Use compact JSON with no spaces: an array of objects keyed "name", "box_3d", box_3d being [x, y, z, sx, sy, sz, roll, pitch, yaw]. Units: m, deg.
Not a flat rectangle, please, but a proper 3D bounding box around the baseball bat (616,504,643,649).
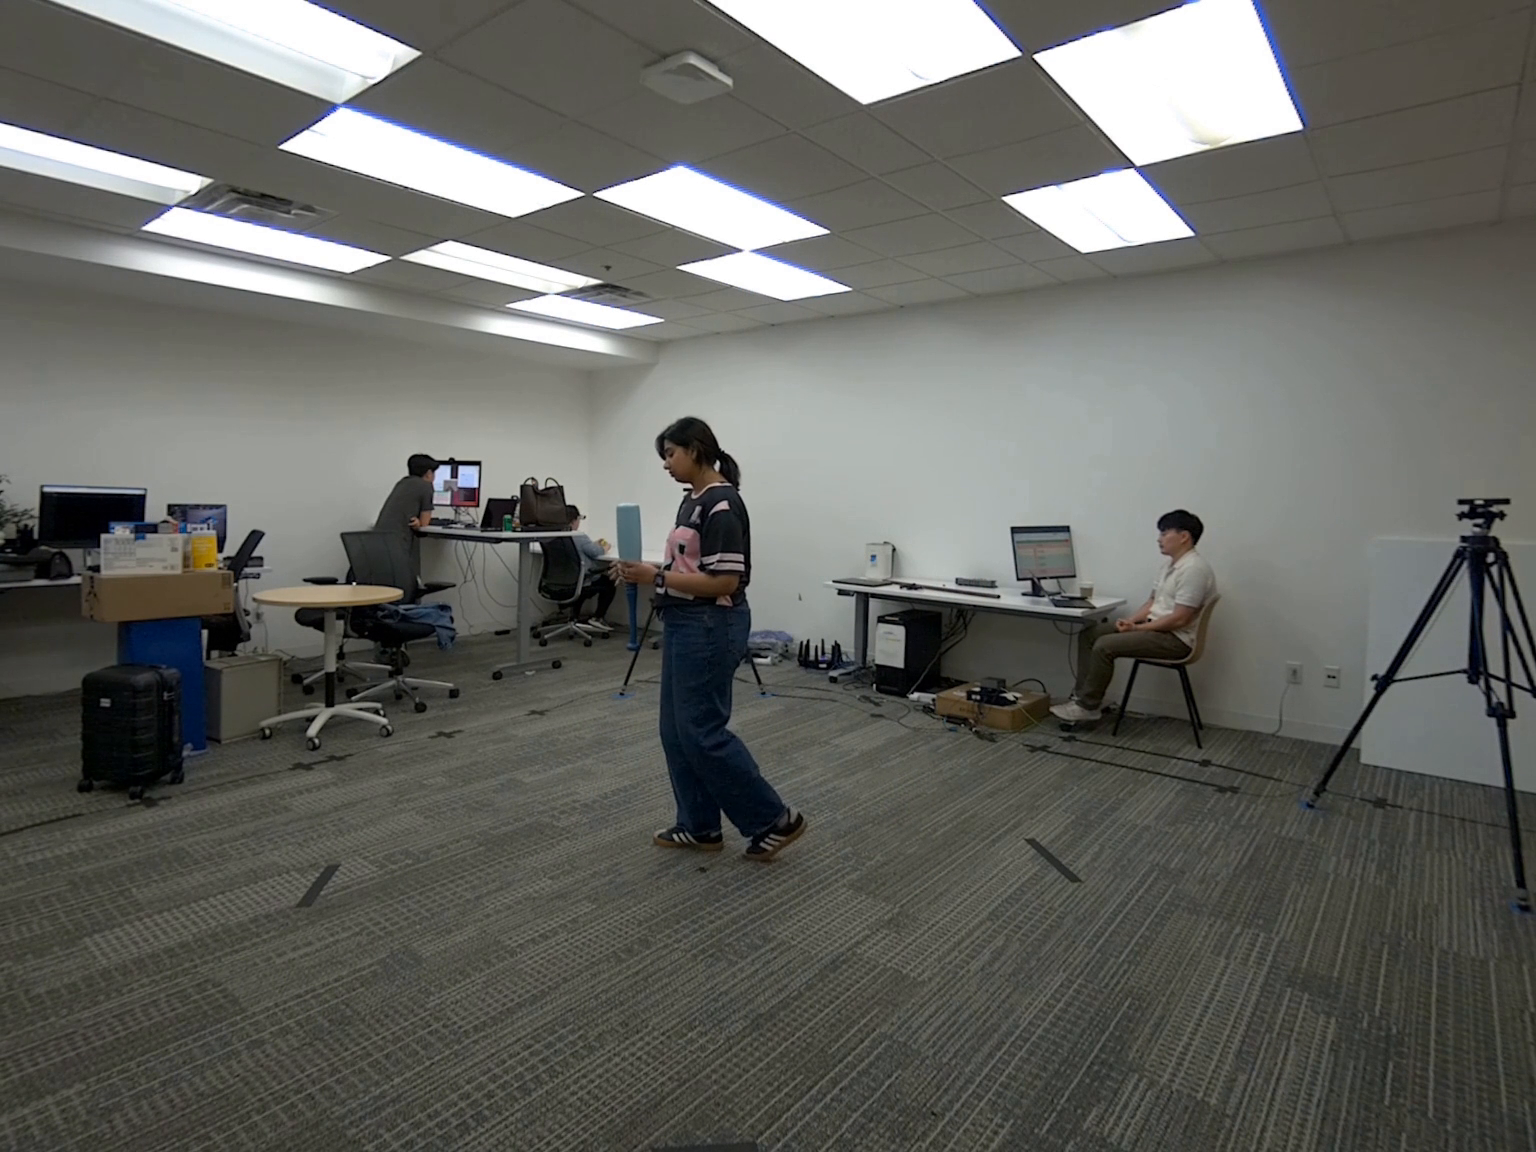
[{"name":"baseball bat","box_3d":[-0.497,-0.007,3.113,0.089,0.540,0.089,-2,4,-2]}]
